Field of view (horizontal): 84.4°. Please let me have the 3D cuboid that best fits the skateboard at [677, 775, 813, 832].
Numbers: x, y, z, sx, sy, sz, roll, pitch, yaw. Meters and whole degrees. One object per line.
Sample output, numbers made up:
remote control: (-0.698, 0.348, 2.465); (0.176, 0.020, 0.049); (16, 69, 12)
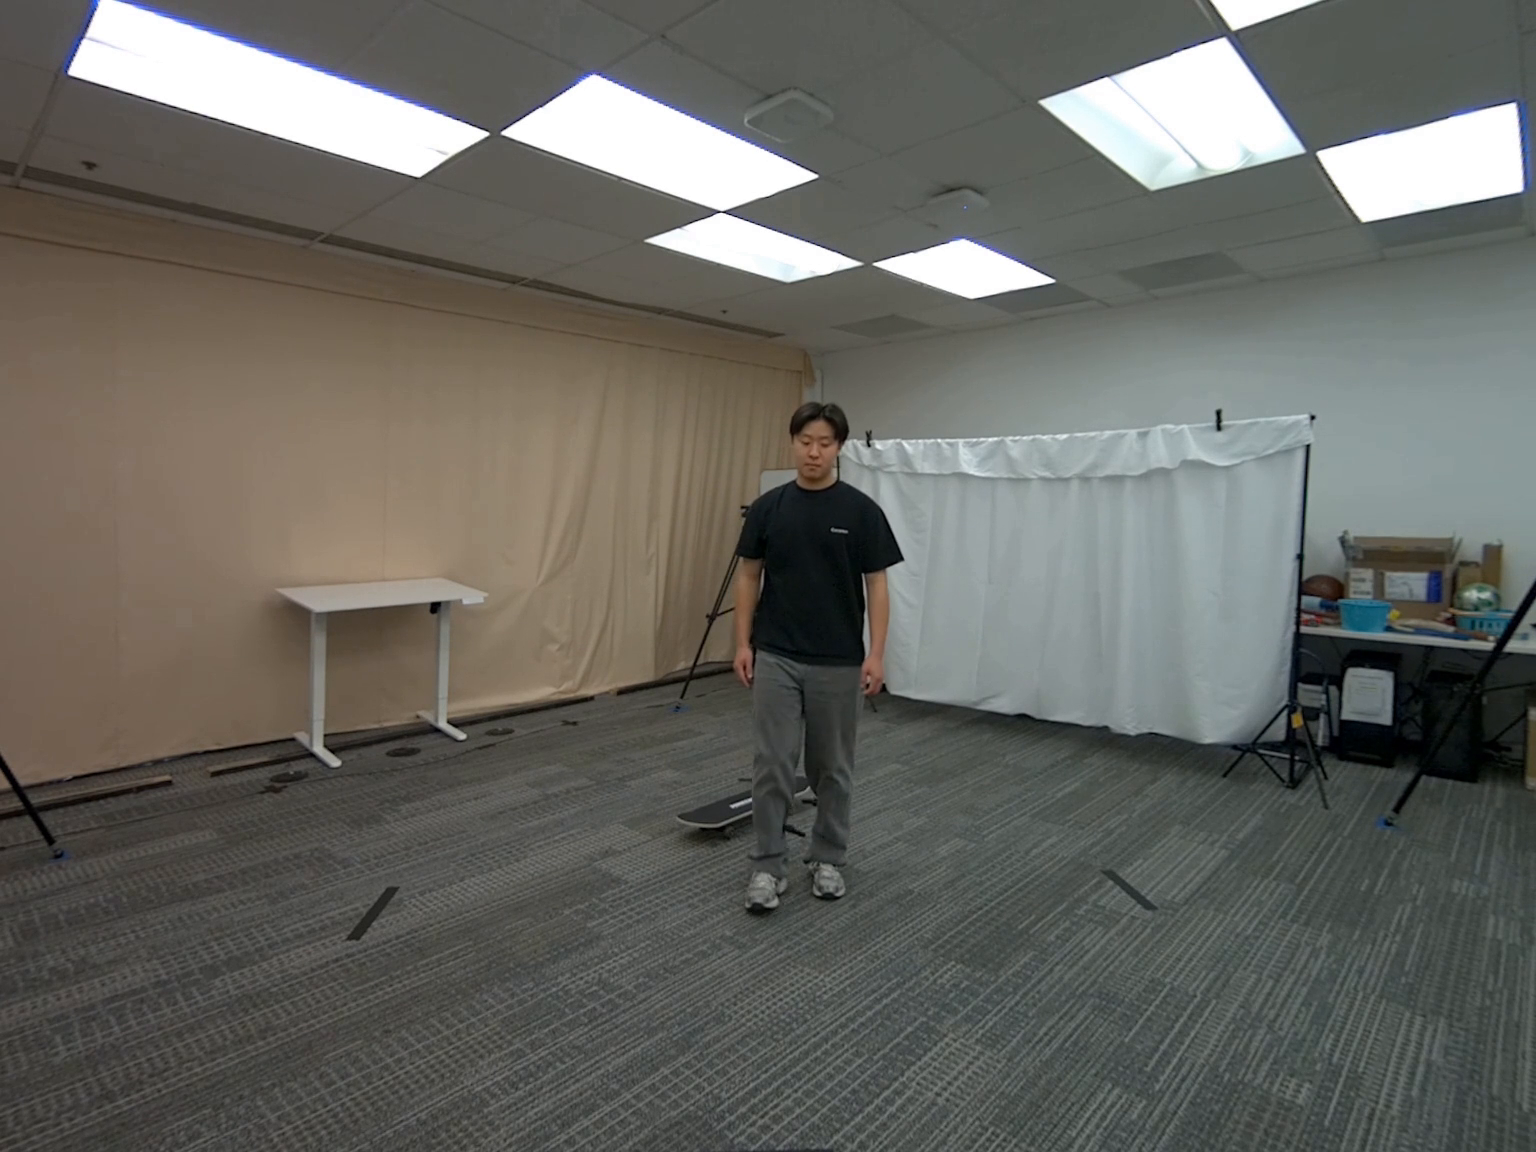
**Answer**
skateboard: (-0.090, 1.033, 3.723); (0.200, 0.110, 0.761); (3, 5, 43)
